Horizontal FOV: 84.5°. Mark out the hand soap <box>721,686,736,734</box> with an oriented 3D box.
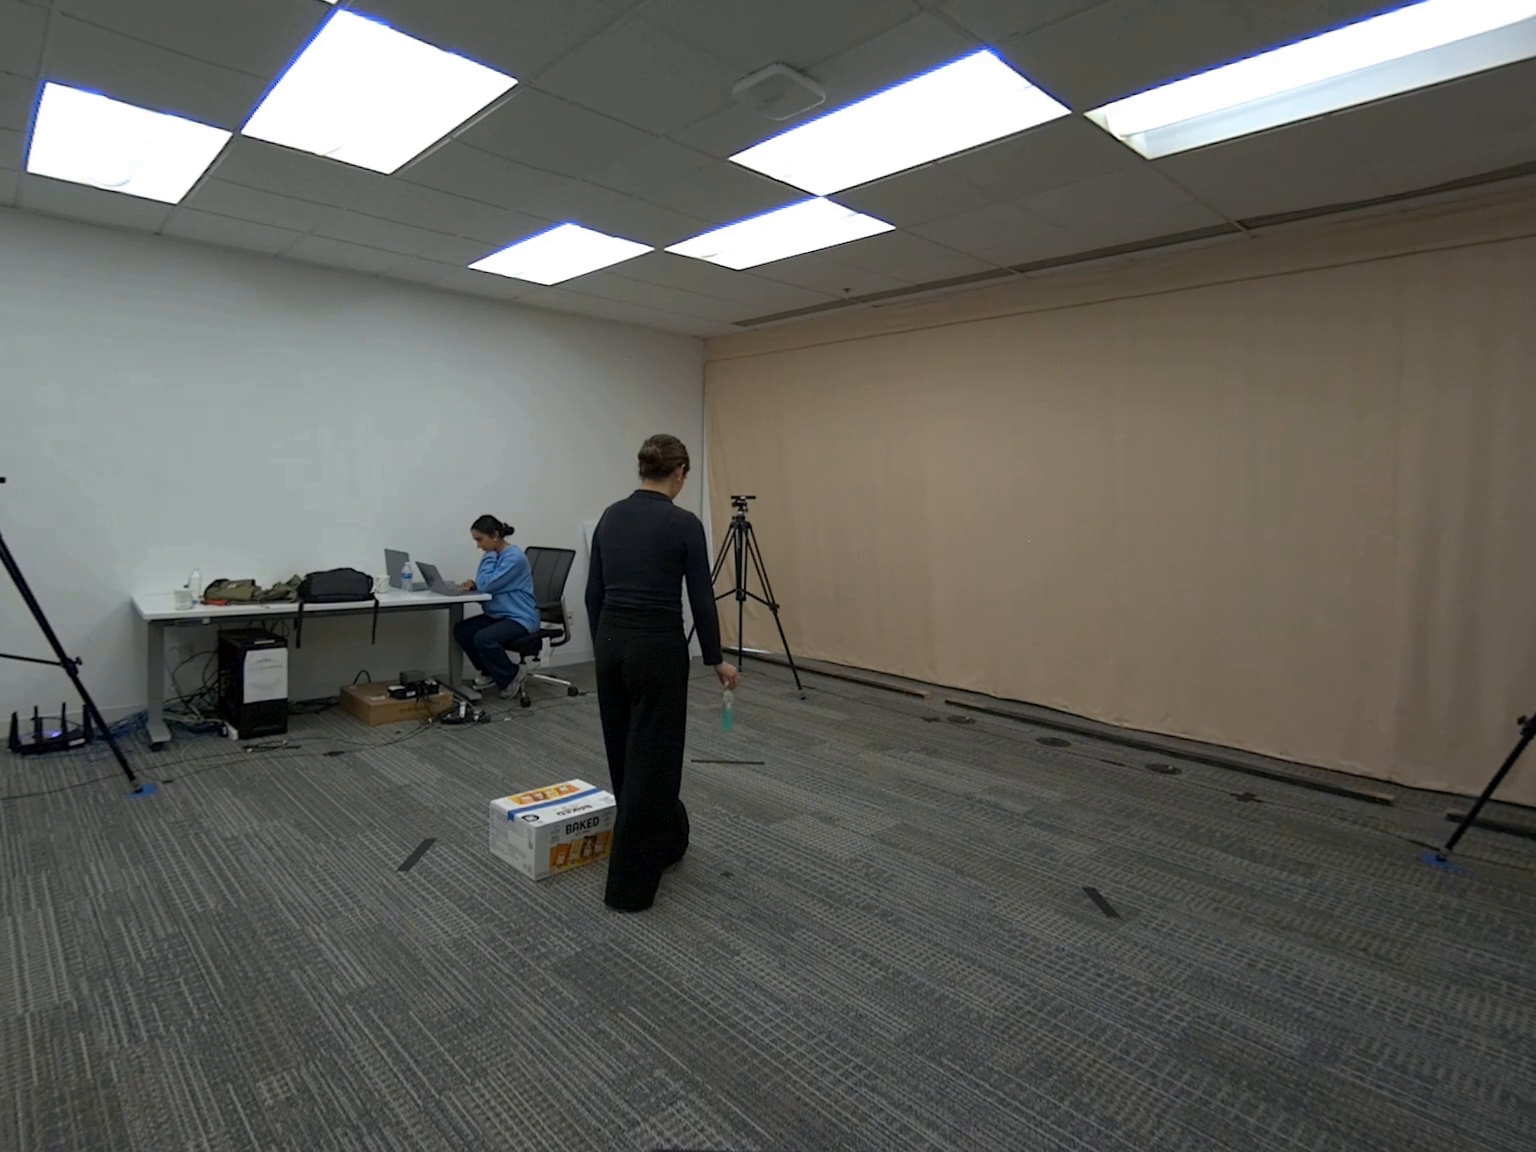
[{"bbox_3d":[-0.143,0.467,3.022,0.043,0.168,0.085,2,2,-3],"label":"hand soap"}]
